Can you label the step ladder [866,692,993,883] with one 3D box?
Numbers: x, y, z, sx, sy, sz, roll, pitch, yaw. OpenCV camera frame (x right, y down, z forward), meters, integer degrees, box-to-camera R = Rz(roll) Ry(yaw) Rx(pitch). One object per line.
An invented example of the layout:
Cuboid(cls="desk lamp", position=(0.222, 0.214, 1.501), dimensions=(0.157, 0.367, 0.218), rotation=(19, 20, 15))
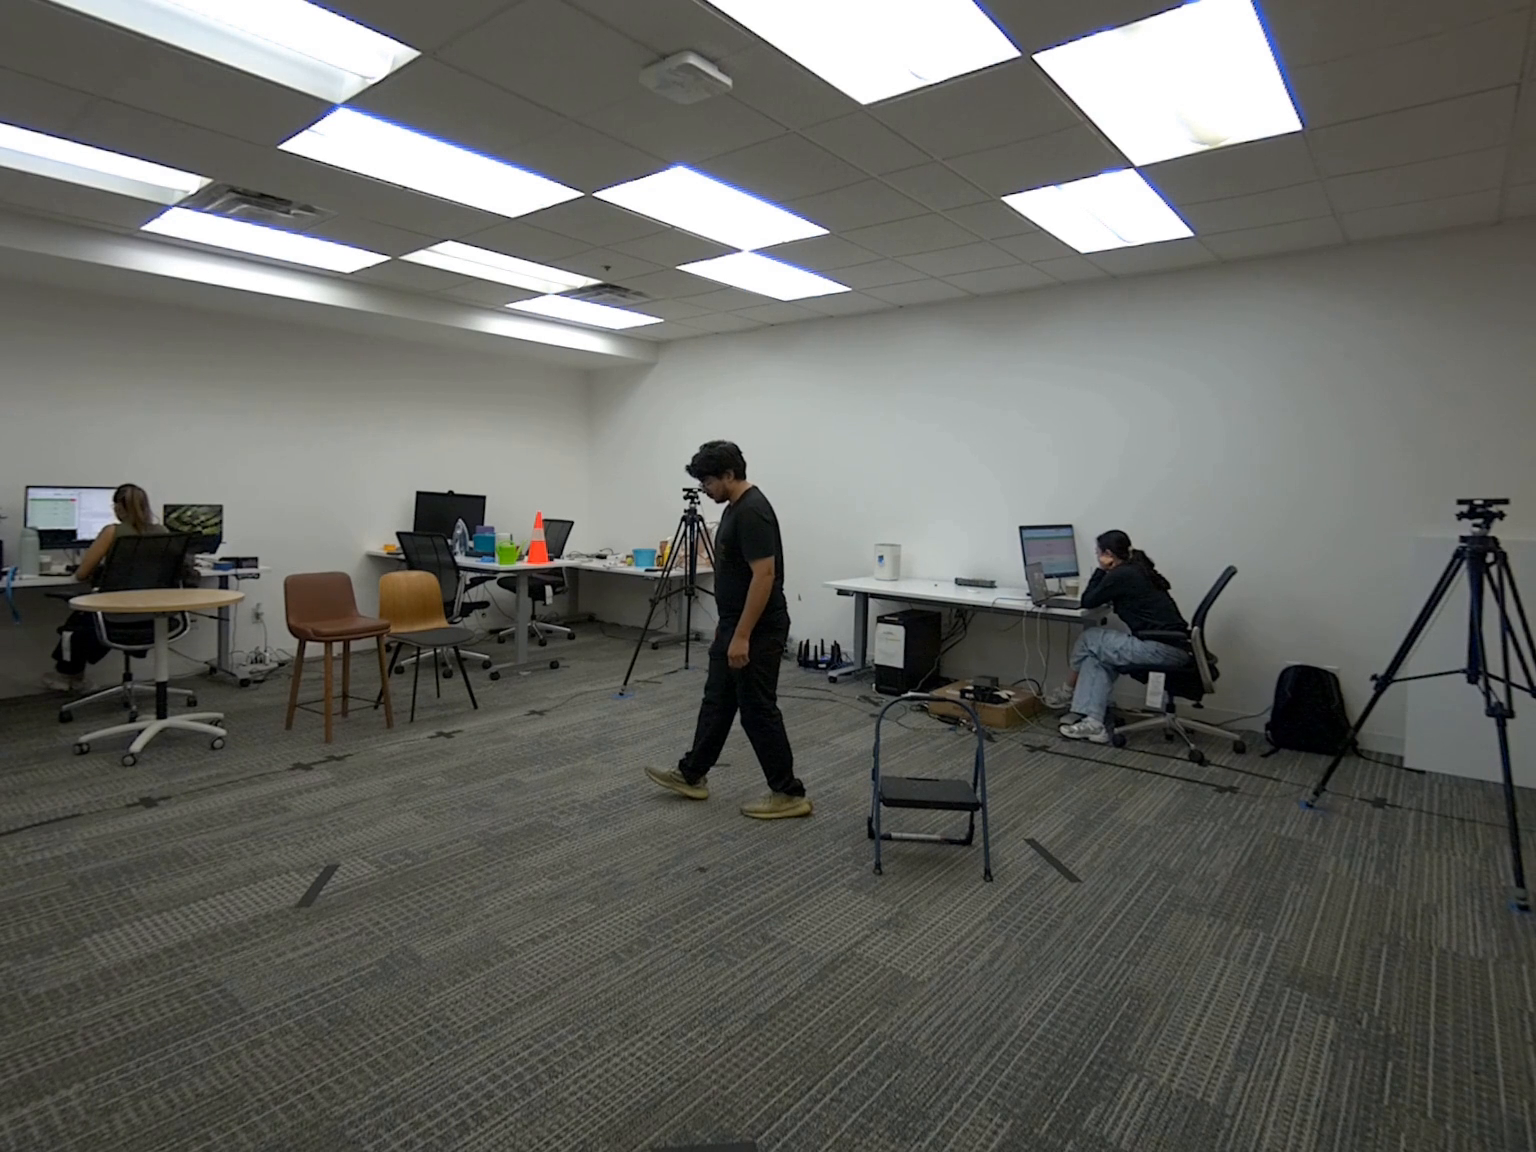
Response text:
Cuboid(cls="step ladder", position=(0.609, 0.775, 3.245), dimensions=(0.432, 0.604, 0.349), rotation=(2, 3, 3))
